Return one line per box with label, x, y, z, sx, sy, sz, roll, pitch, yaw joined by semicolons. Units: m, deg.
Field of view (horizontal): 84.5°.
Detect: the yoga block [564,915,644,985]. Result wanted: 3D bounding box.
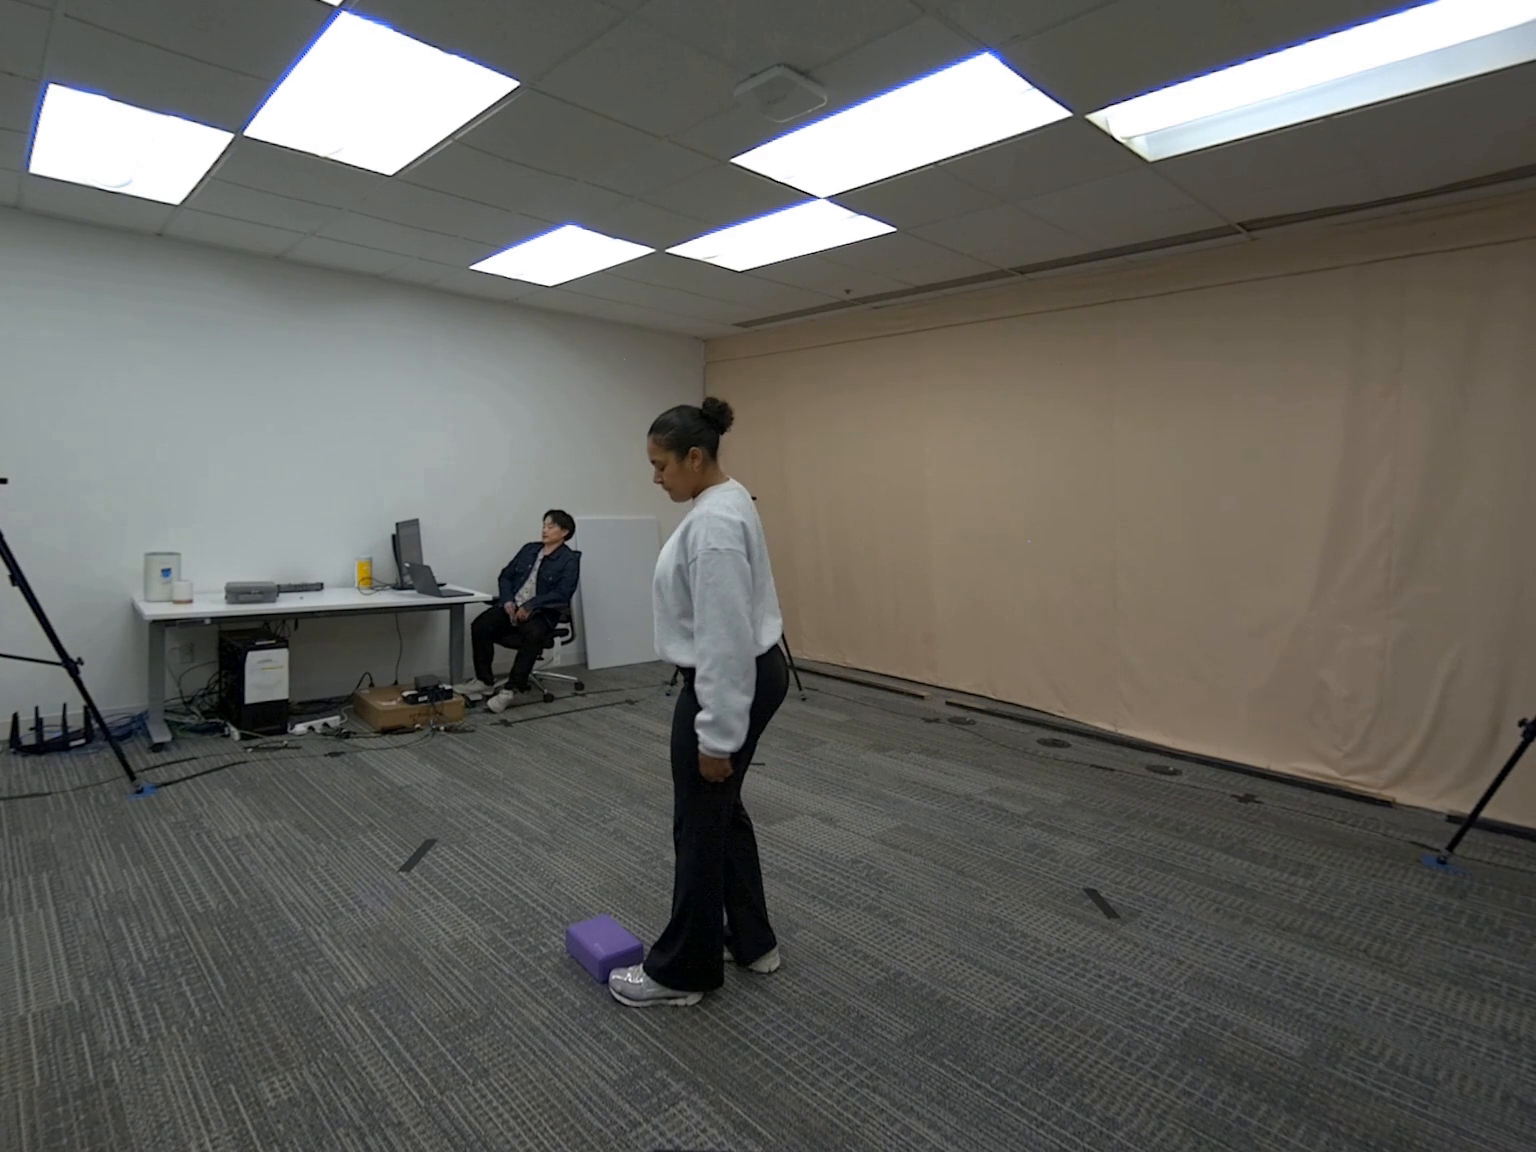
yoga block;-0.497;1.108;2.524;0.146;0.076;0.235;-4;7;-39
